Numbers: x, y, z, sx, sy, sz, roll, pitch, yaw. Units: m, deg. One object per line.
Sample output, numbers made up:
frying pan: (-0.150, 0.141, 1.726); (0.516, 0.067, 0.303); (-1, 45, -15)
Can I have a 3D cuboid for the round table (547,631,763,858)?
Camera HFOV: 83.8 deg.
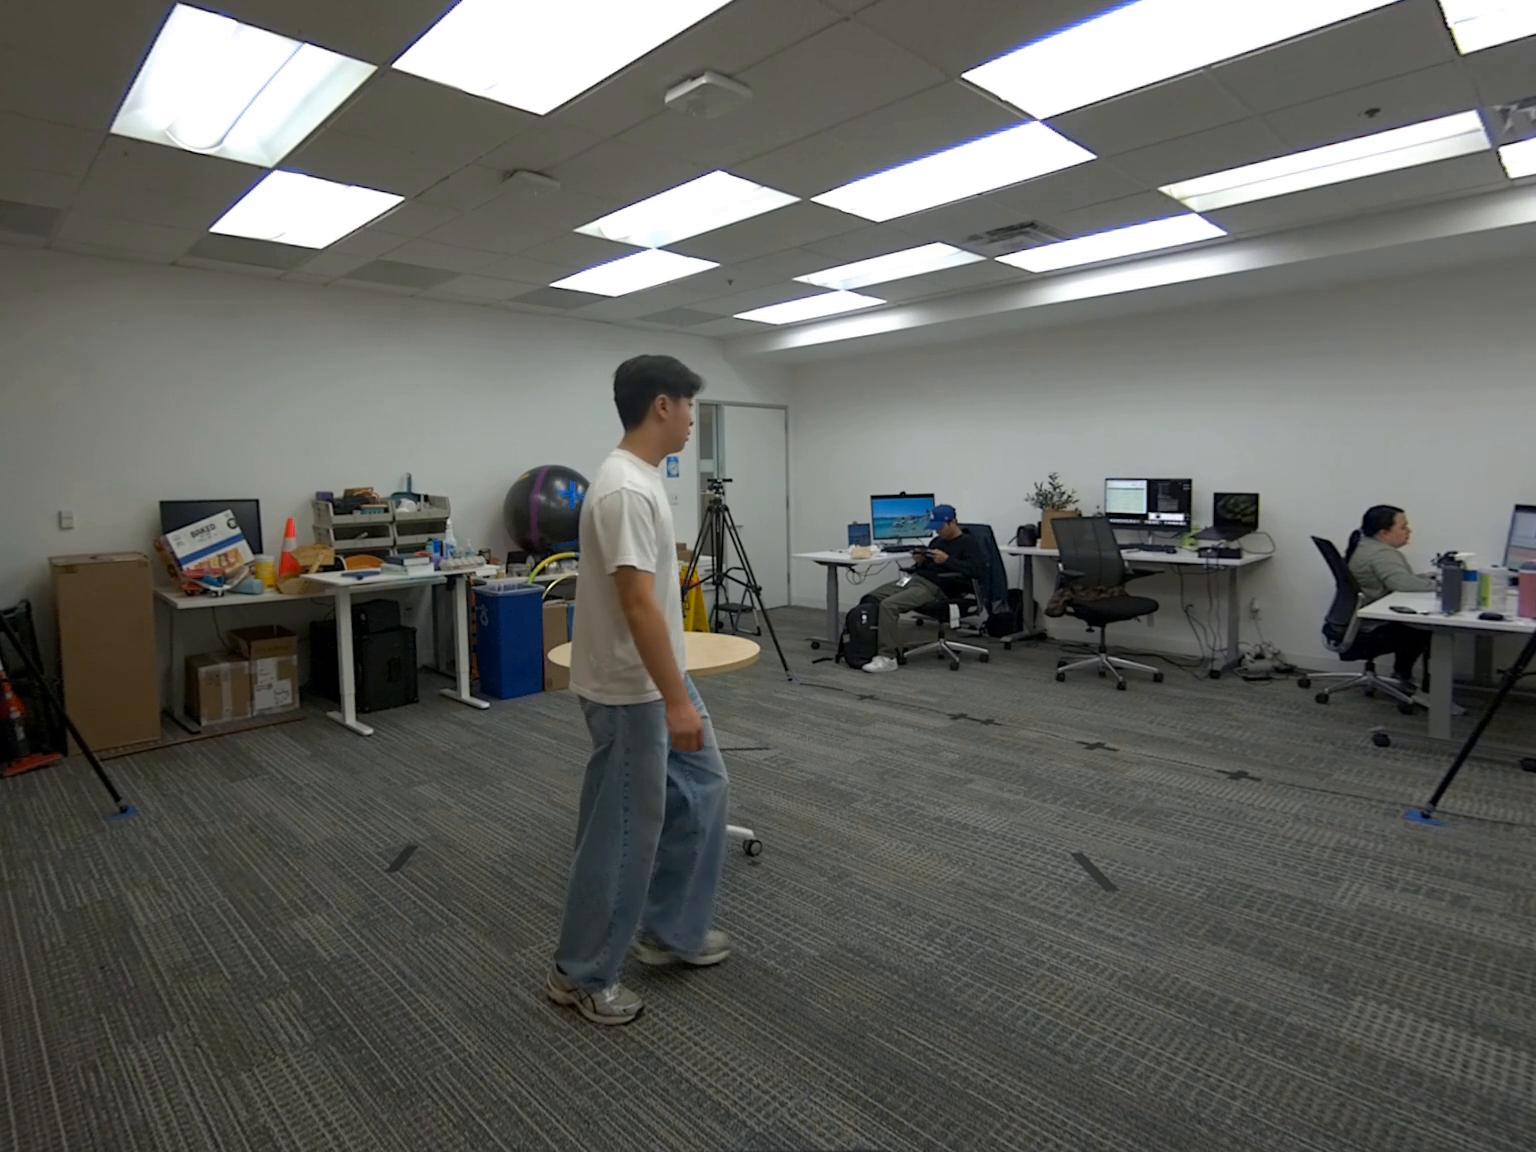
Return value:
round table: (-0.398, 0.661, 3.132); (0.763, 0.791, 0.768); (-1, 5, -2)
